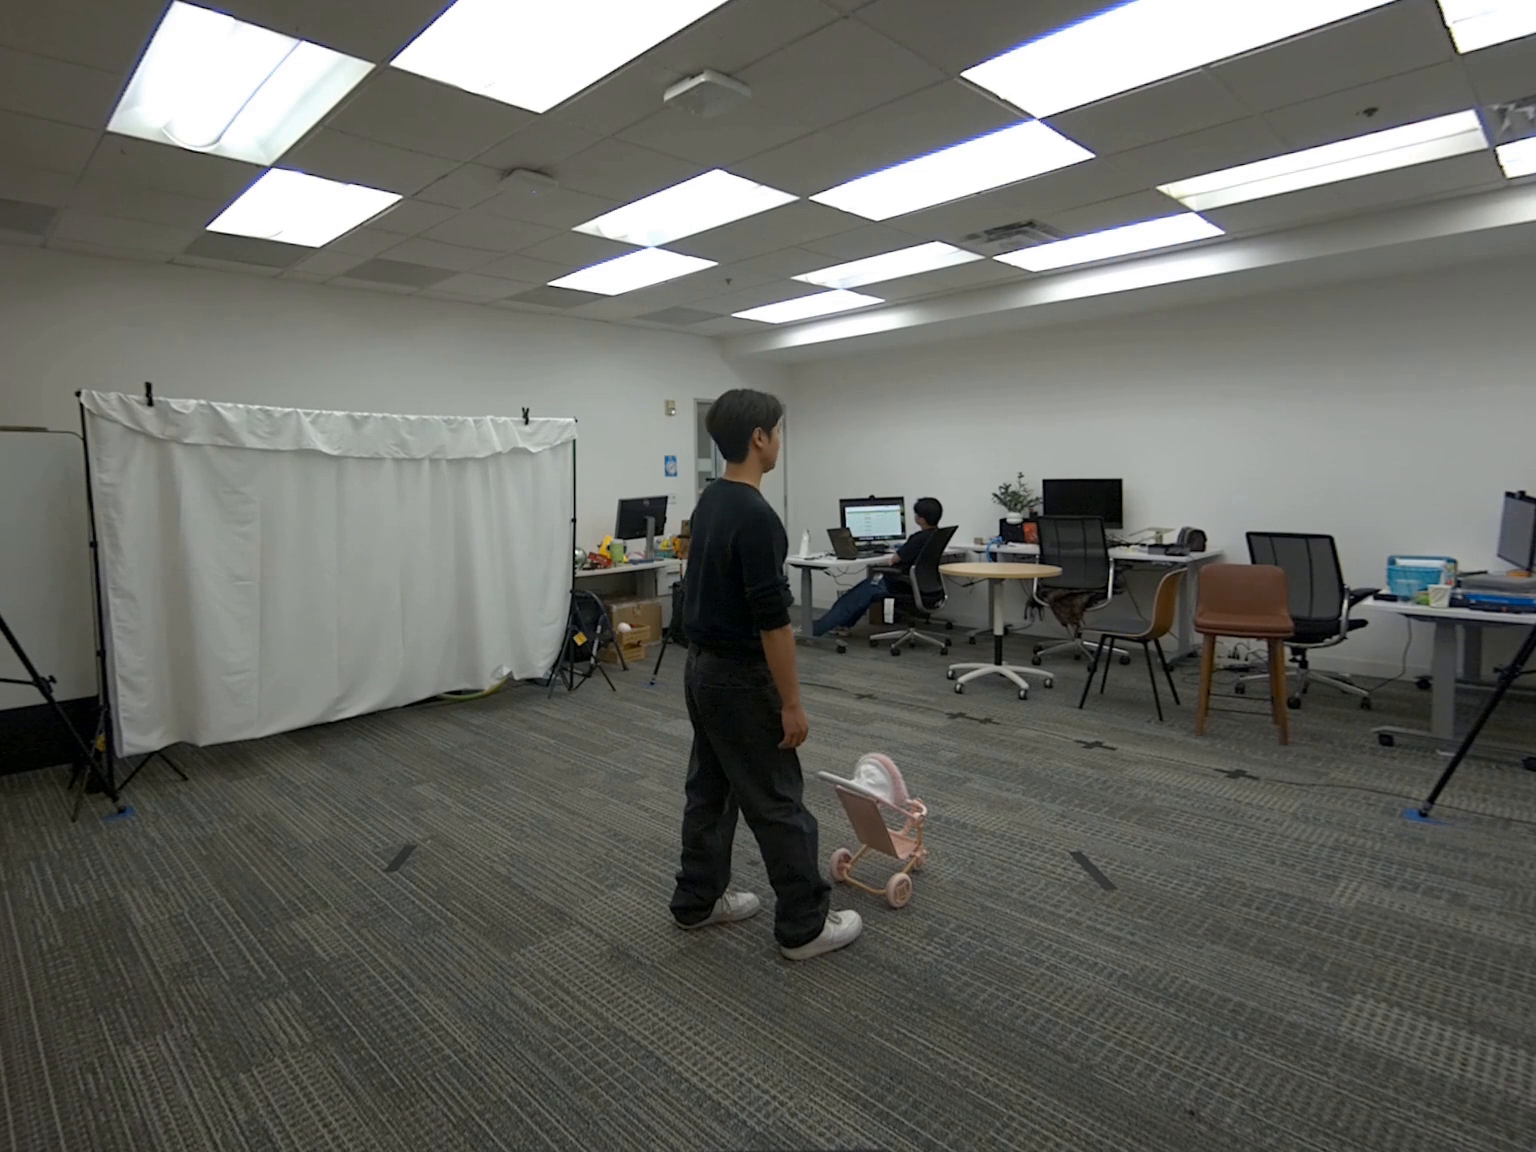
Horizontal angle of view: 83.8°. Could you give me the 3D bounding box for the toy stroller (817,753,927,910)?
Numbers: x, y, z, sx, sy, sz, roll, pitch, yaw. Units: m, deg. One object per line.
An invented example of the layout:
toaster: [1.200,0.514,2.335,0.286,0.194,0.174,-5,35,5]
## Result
toy stroller: [0.388,0.834,2.890,0.336,0.527,0.290,-23,16,-34]
